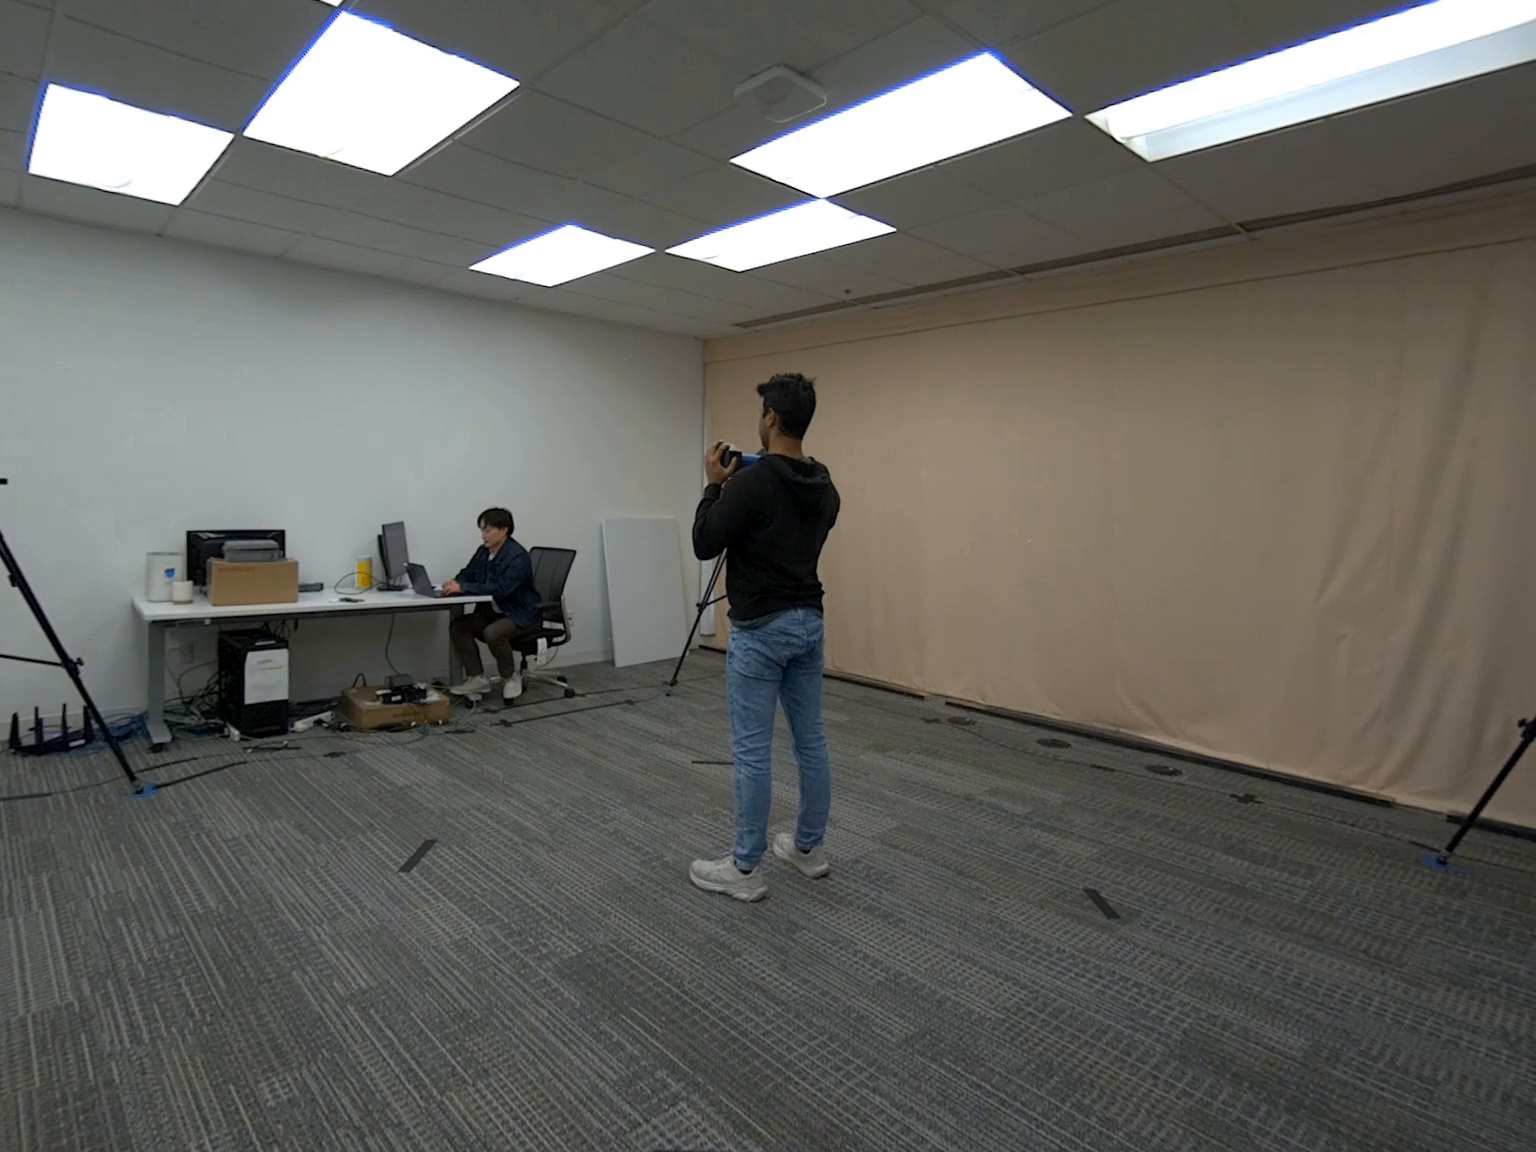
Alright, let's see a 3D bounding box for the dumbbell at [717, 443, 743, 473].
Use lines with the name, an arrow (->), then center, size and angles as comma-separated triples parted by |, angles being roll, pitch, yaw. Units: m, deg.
dumbbell -> -0.075, -0.419, 3.140 | 0.287, 0.123, 0.111 | -2, 5, -43
